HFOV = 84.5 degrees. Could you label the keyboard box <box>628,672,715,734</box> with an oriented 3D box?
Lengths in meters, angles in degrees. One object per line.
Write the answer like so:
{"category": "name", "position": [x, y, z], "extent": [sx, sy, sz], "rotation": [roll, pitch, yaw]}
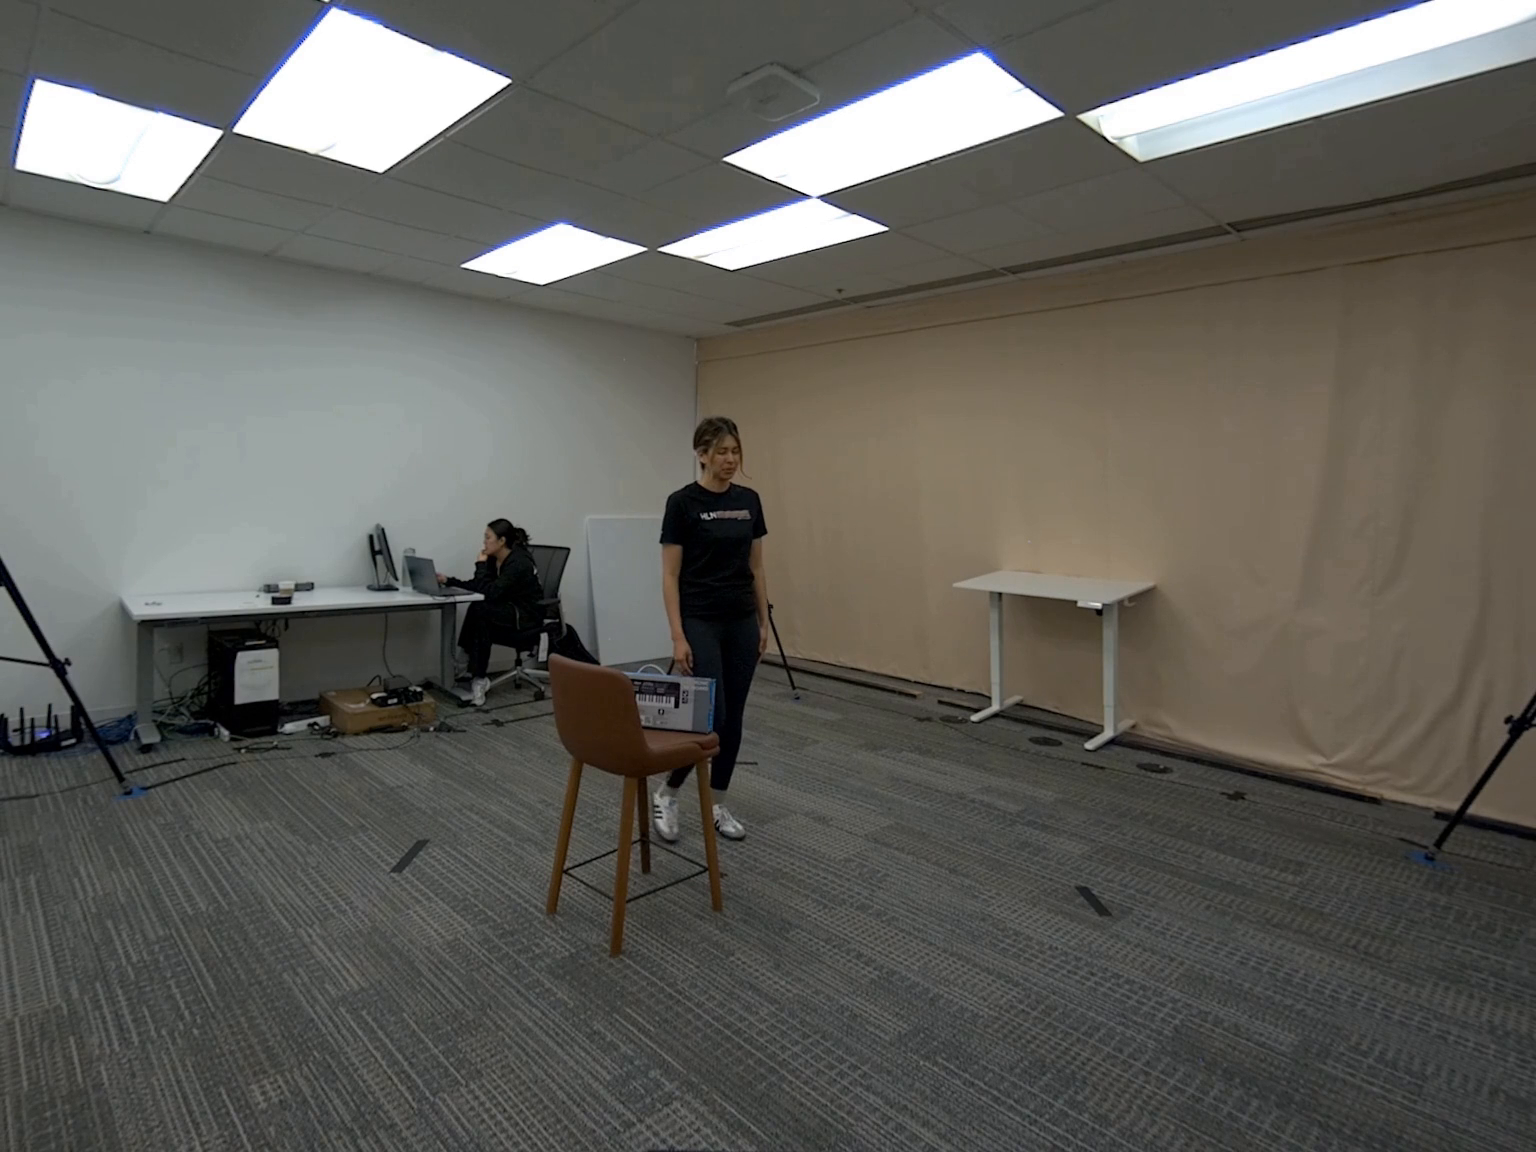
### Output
{"category": "keyboard box", "position": [-0.408, 0.417, 2.841], "extent": [0.440, 0.176, 0.058], "rotation": [2, -2, 10]}
